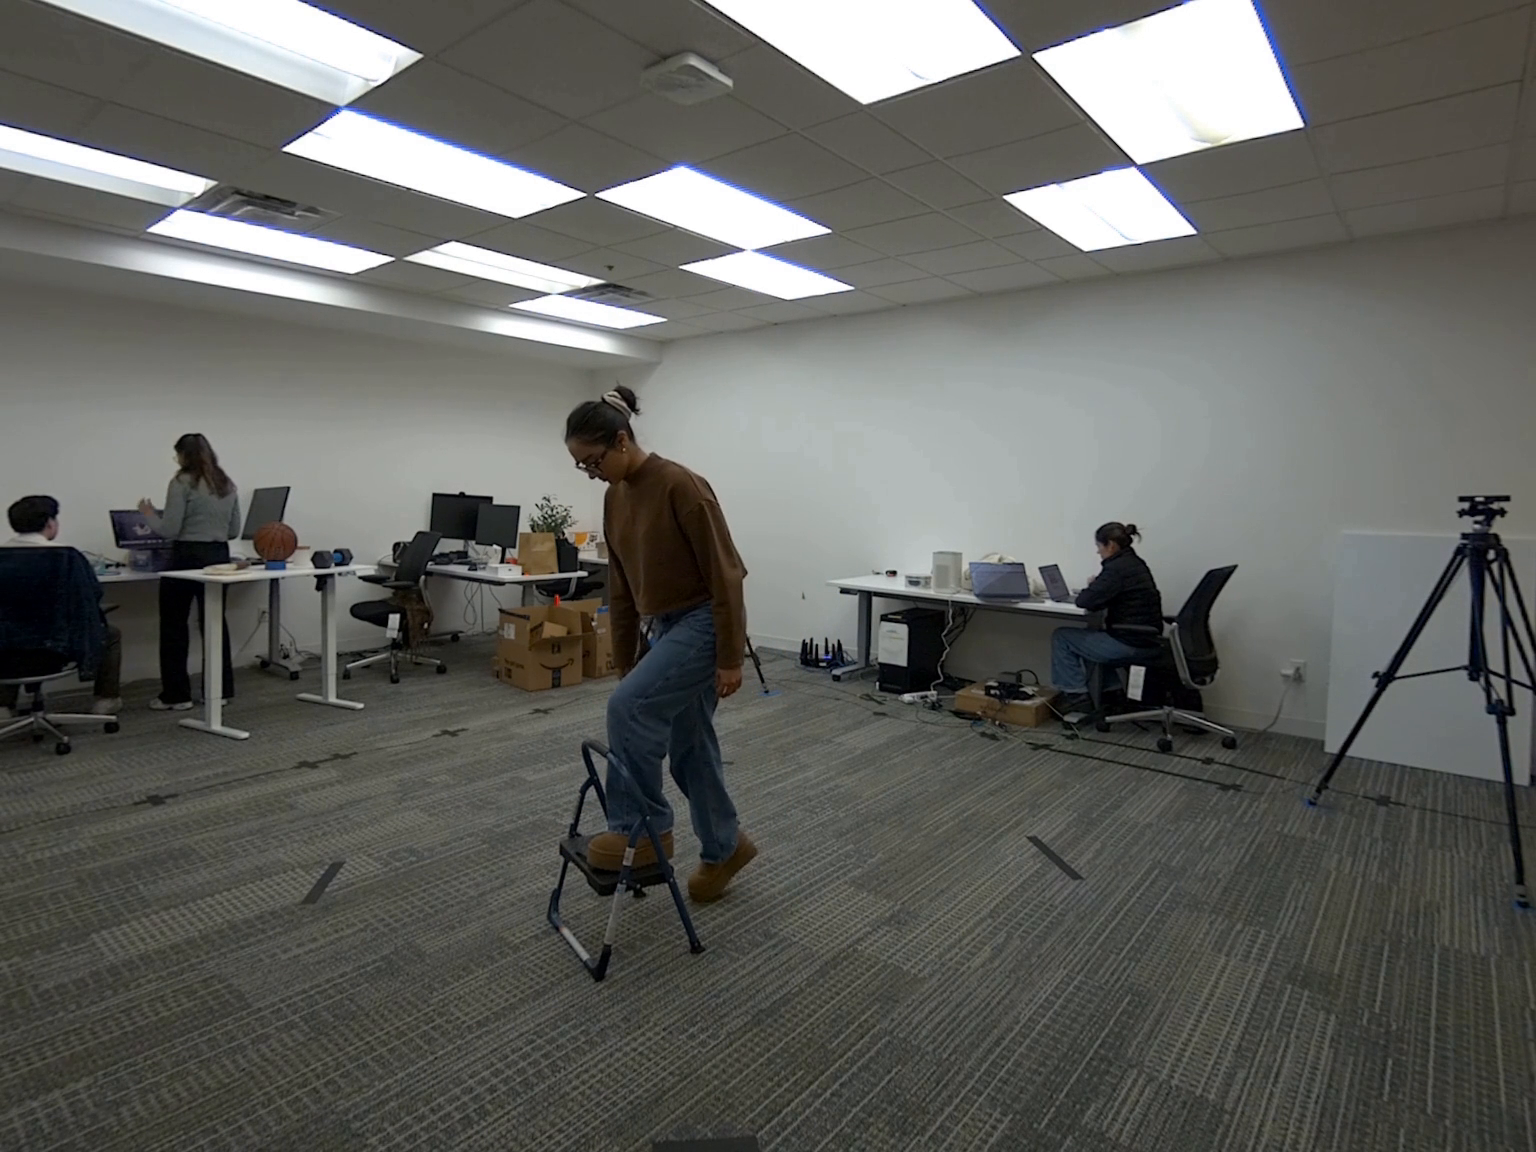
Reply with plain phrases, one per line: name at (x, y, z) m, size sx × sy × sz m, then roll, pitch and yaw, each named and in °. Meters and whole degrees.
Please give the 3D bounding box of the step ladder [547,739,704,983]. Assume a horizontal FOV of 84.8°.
step ladder at (-0.459, 0.809, 2.623) m, size 0.339 × 0.604 × 0.444 m, roll -2°, pitch 5°, yaw -34°
